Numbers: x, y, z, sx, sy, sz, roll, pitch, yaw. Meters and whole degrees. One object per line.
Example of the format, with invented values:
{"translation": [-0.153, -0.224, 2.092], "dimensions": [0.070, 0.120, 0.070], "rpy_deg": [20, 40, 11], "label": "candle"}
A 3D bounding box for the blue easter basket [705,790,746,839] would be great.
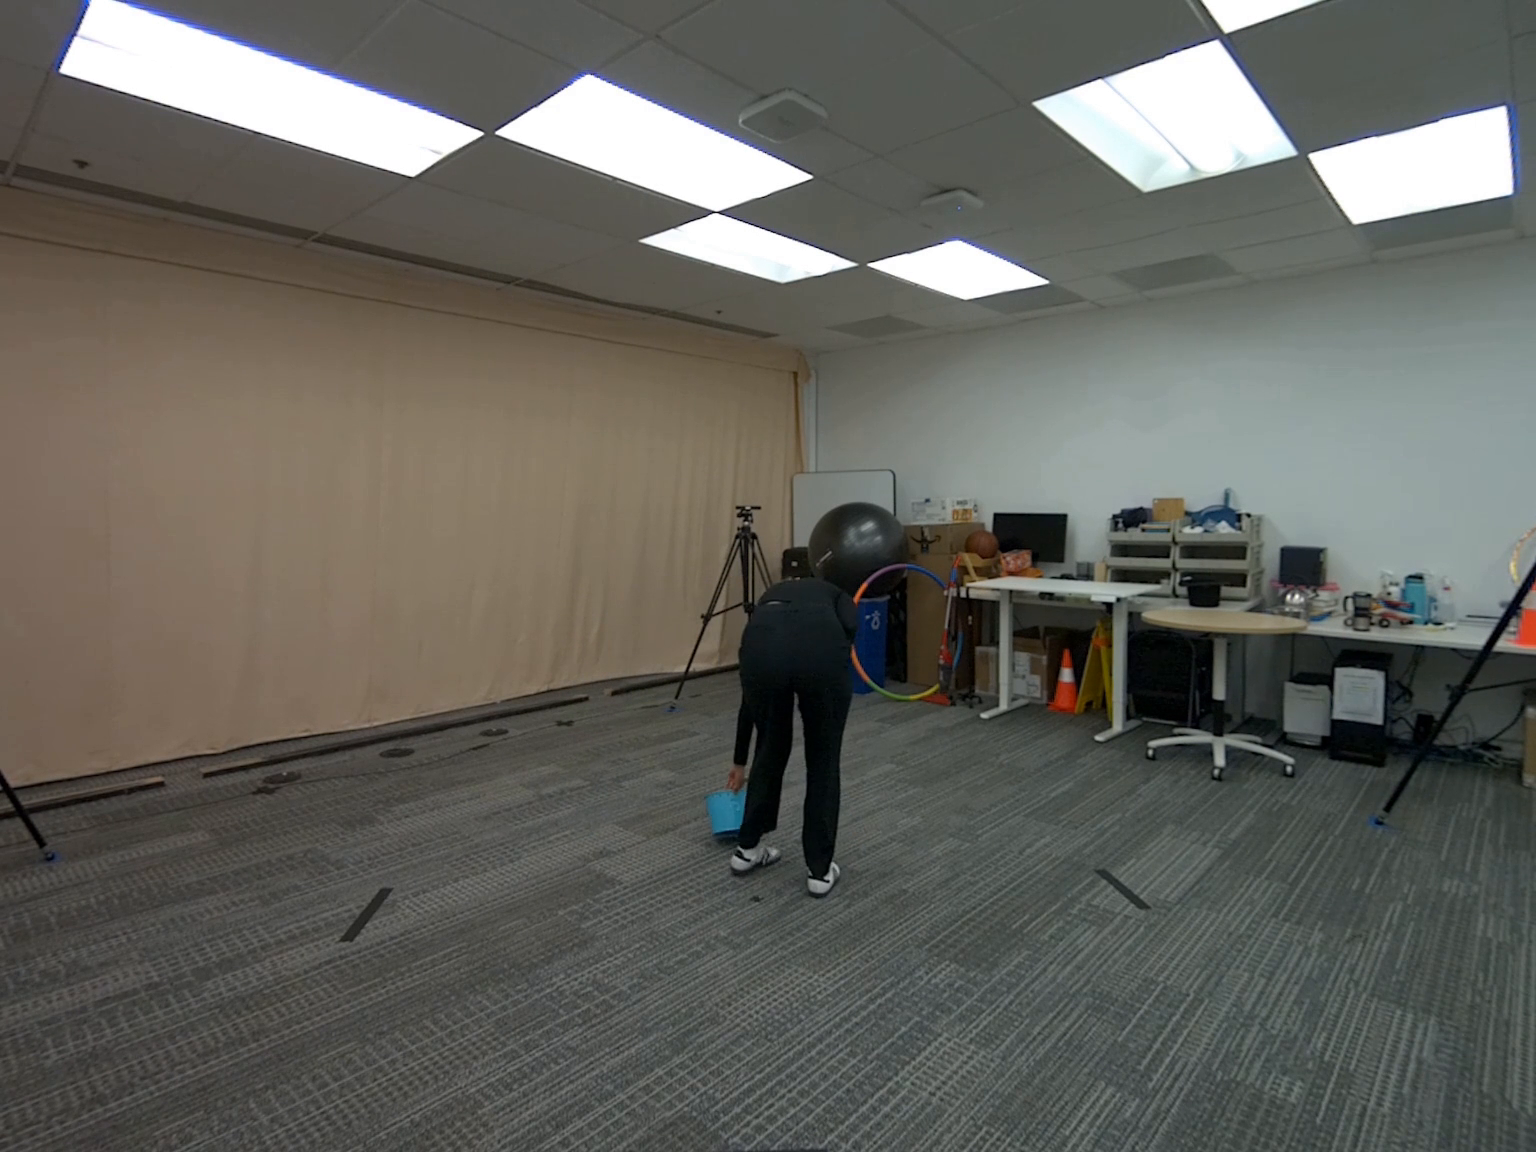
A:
{"translation": [-0.149, 0.991, 3.498], "dimensions": [0.243, 0.158, 0.240], "rpy_deg": [-4, -24, -4], "label": "blue easter basket"}
